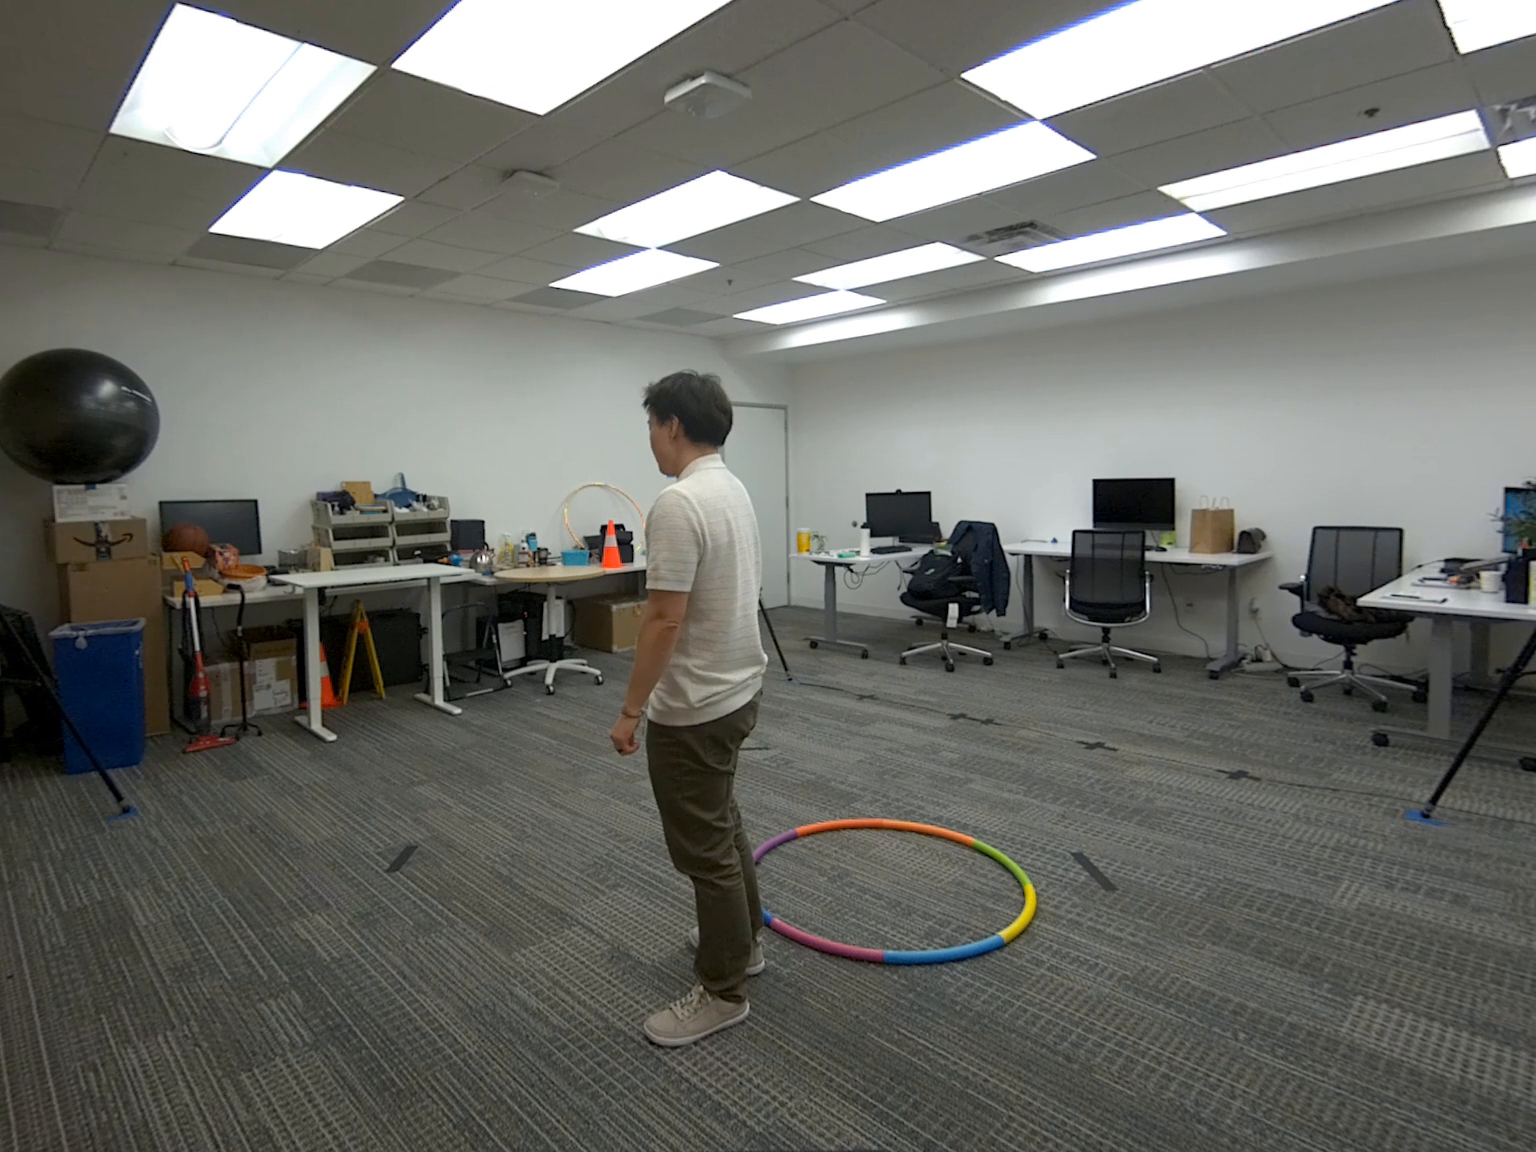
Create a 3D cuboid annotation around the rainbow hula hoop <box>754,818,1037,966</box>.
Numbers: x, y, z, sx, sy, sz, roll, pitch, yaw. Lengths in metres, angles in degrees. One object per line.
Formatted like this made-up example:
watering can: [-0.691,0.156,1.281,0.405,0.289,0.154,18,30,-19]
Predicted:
rainbow hula hoop: [0.393,1.025,2.933,0.978,0.035,0.984,-2,7,-2]
